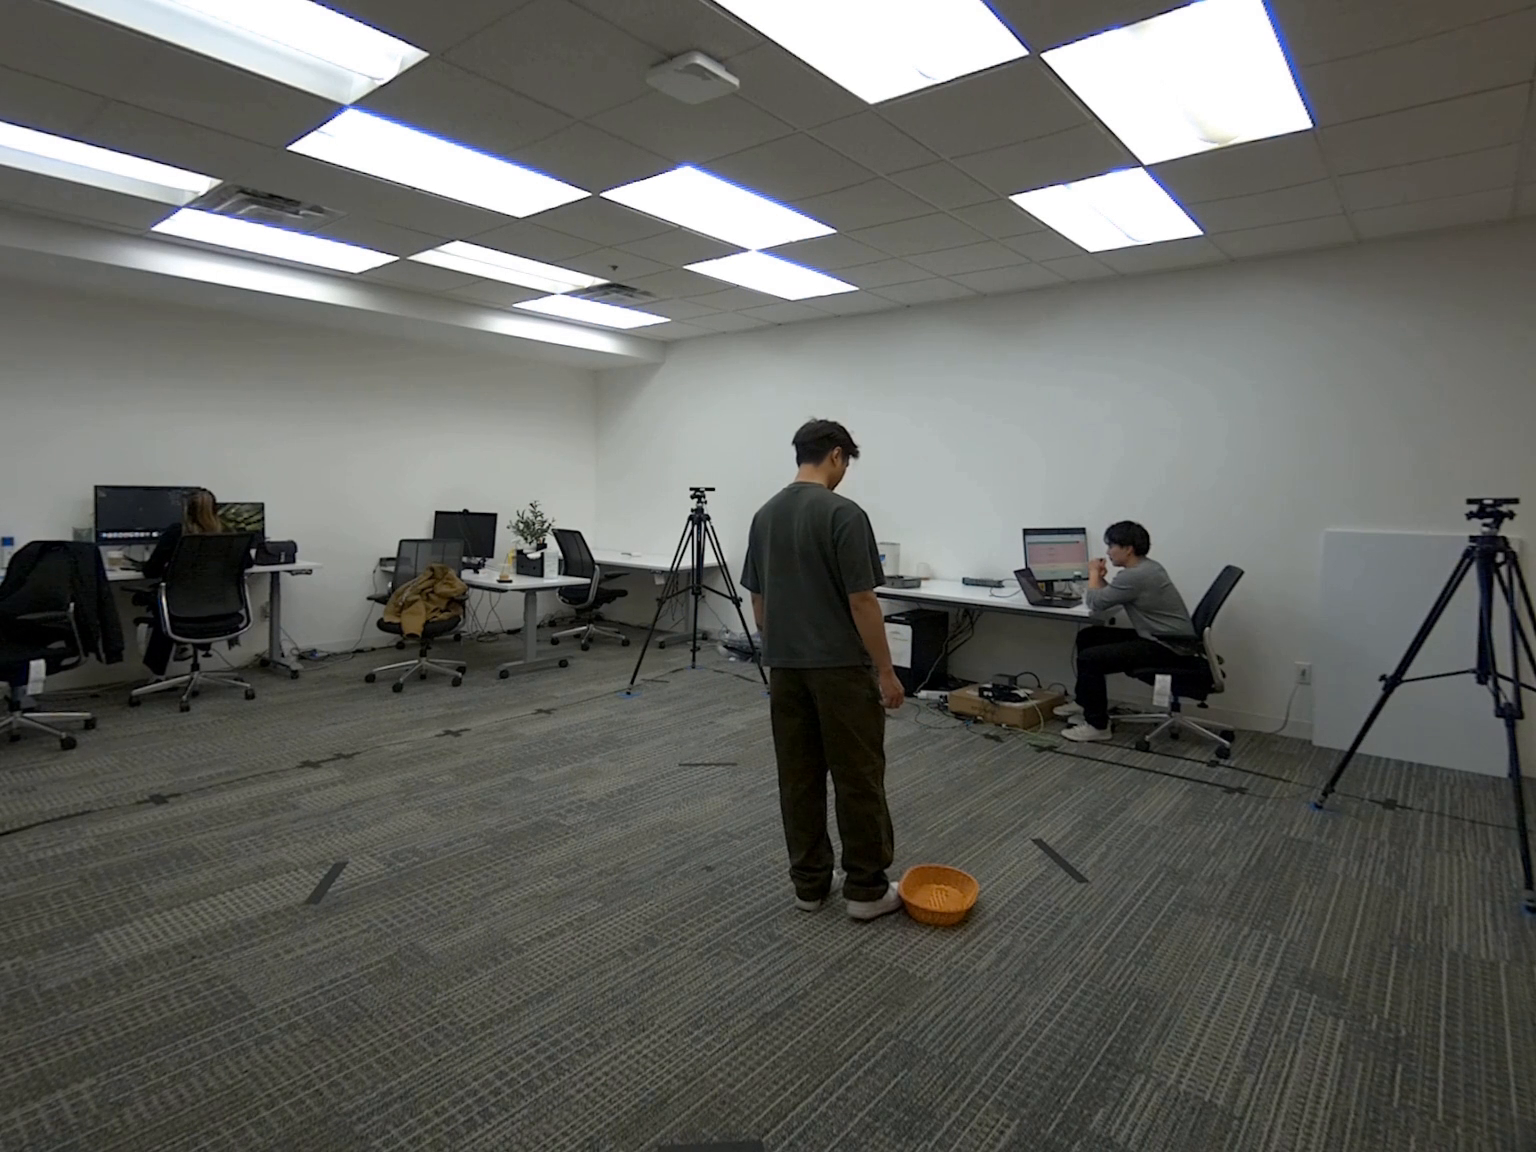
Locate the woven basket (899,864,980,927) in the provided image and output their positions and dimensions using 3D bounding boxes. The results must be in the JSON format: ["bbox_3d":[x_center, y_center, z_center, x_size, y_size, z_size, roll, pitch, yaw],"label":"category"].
[{"bbox_3d":[0.569,1.076,2.863,0.259,0.073,0.342,5,7,27],"label":"woven basket"}]
